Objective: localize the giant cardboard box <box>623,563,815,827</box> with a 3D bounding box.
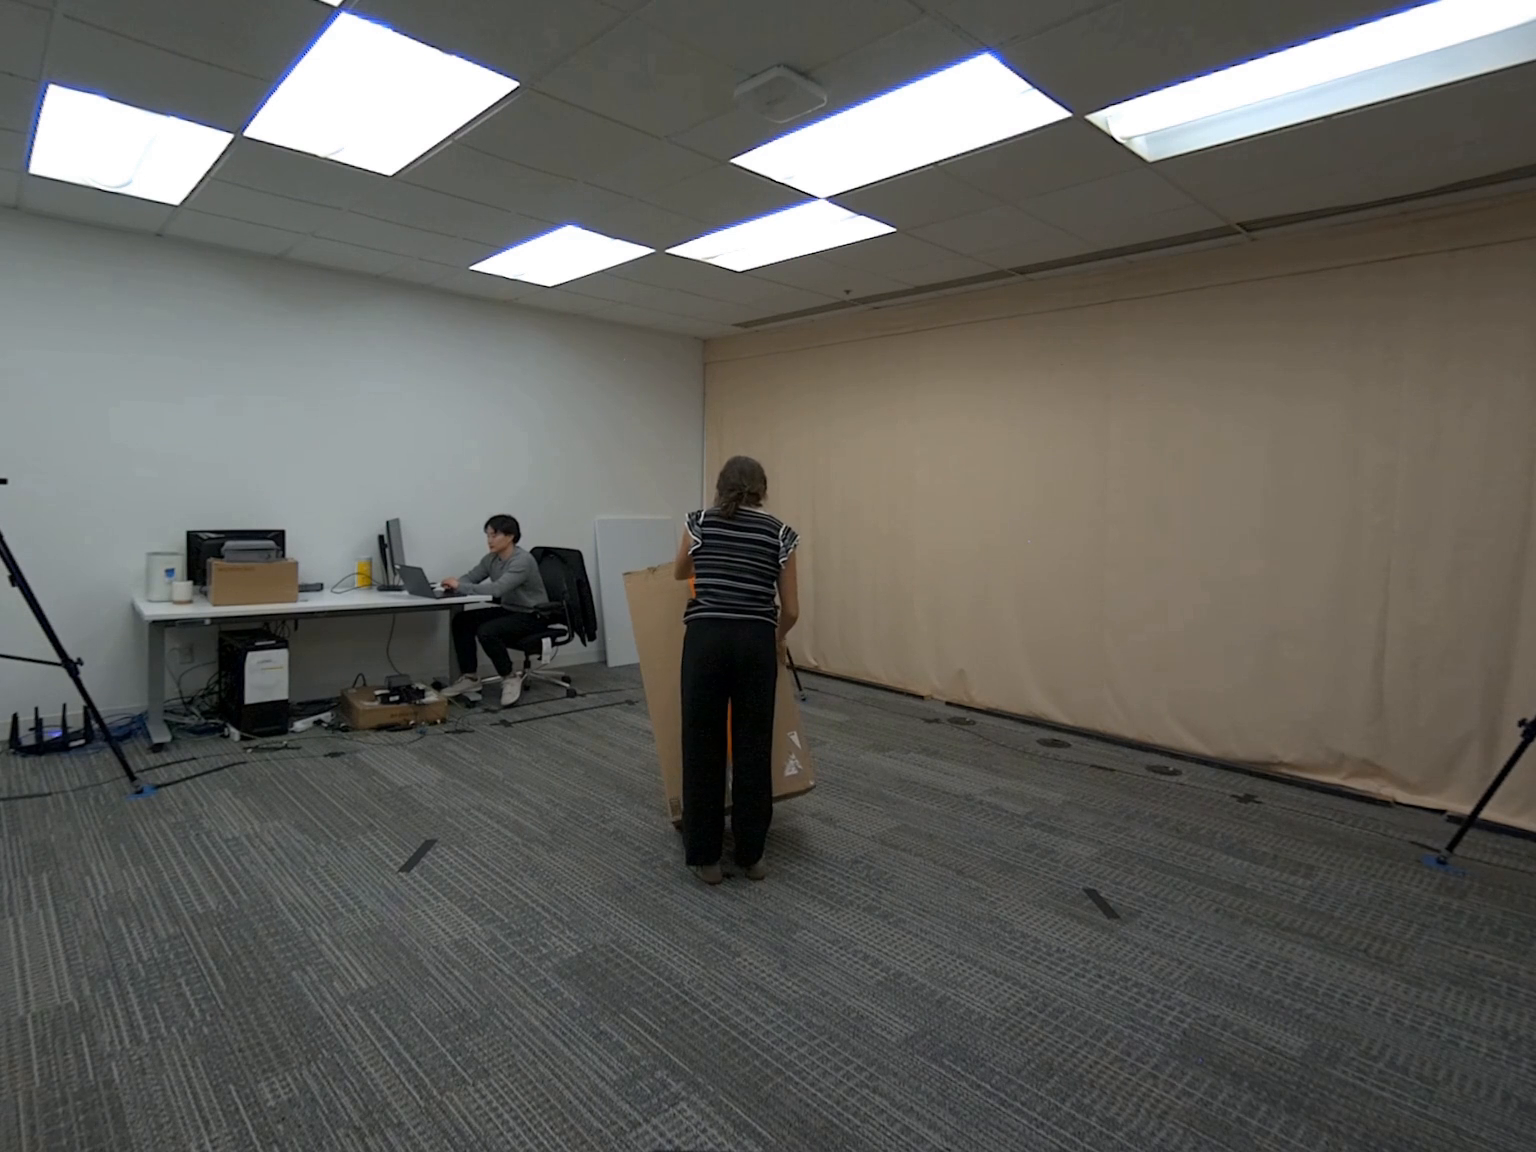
[{"bbox_3d":[-0.231,0.461,3.575,0.575,1.044,0.421,-12,-20,-7],"label":"giant cardboard box"}]
